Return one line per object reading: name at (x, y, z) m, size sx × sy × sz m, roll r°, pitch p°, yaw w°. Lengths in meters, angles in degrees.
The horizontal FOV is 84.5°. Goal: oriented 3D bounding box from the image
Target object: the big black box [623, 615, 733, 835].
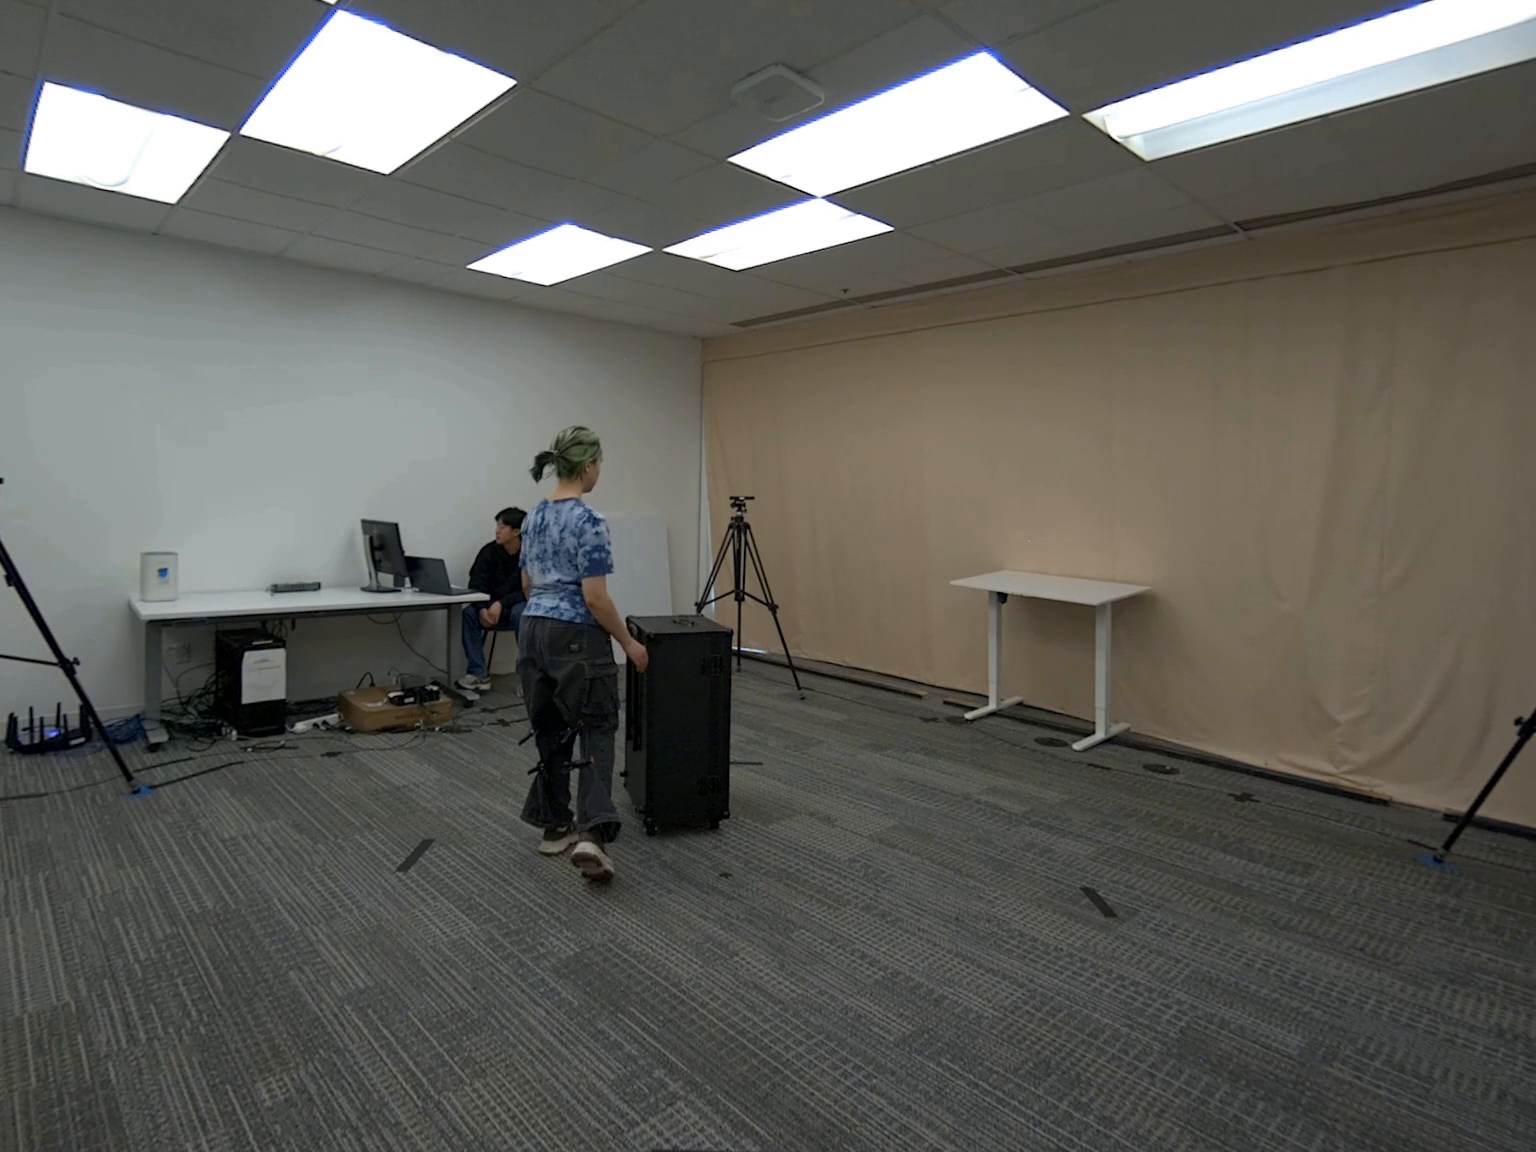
big black box at (-0.414, 0.629, 3.624) m, size 0.391 × 0.859 × 0.530 m, roll -1°, pitch 4°, yaw -19°
